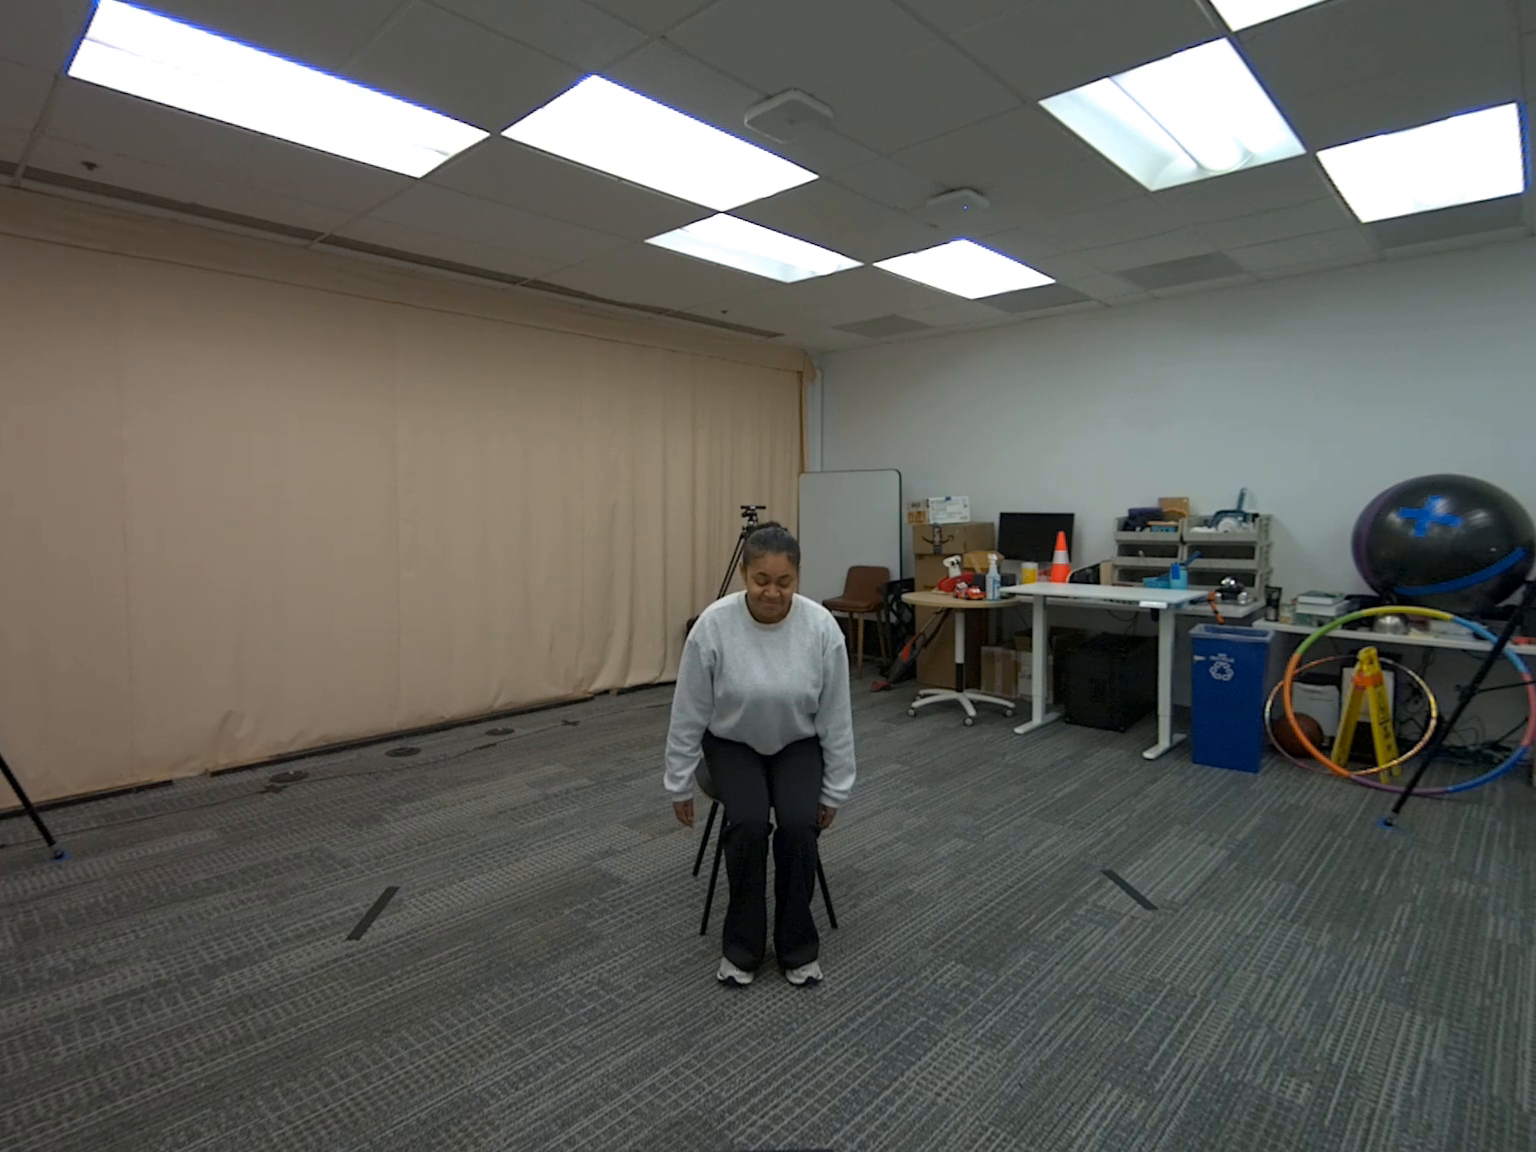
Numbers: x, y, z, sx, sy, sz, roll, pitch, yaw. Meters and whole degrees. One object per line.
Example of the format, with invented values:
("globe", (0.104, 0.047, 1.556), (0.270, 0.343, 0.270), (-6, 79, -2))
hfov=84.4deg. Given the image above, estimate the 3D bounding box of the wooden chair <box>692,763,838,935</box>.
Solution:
("wooden chair", (-0.022, 0.717, 2.934), (0.475, 0.877, 0.527), (0, 0, -8))
